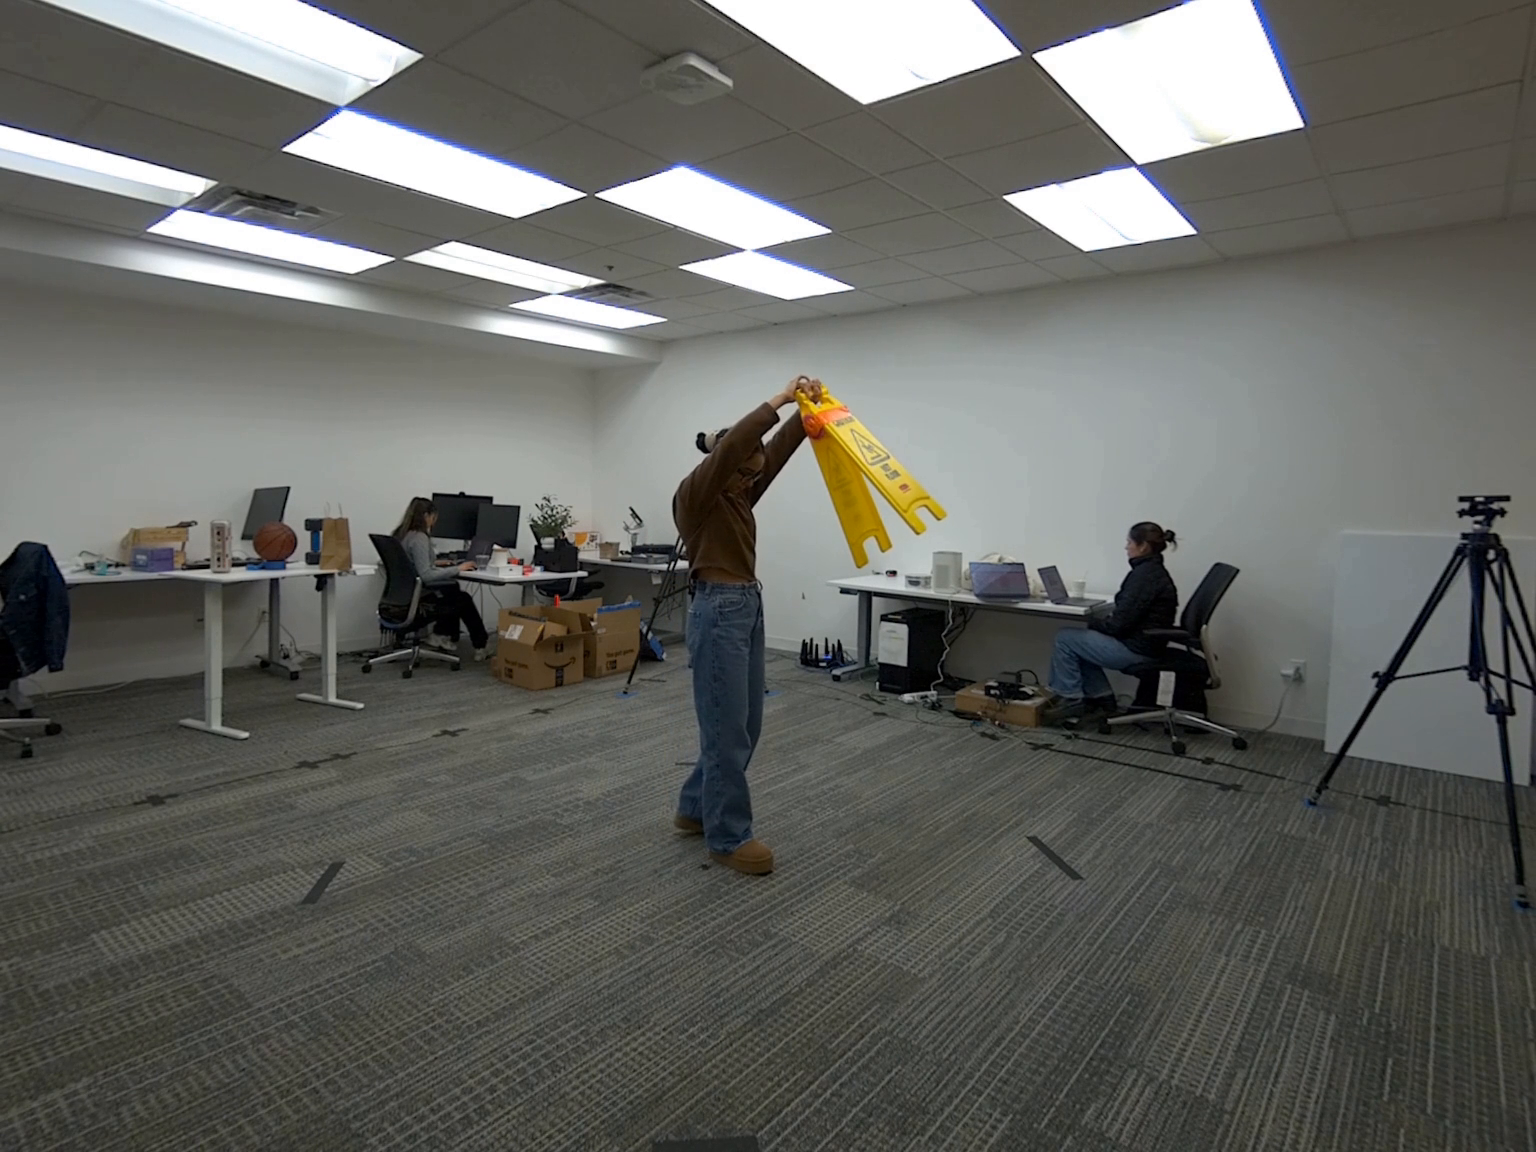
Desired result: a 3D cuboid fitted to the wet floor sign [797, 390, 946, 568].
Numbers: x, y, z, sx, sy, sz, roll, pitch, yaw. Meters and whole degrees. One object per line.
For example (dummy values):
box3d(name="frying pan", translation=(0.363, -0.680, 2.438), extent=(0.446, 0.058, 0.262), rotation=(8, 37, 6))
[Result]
box3d(name="wet floor sign", translation=(0.301, -0.400, 3.016), extent=(0.293, 0.650, 0.277), rotation=(-32, -5, 37))
